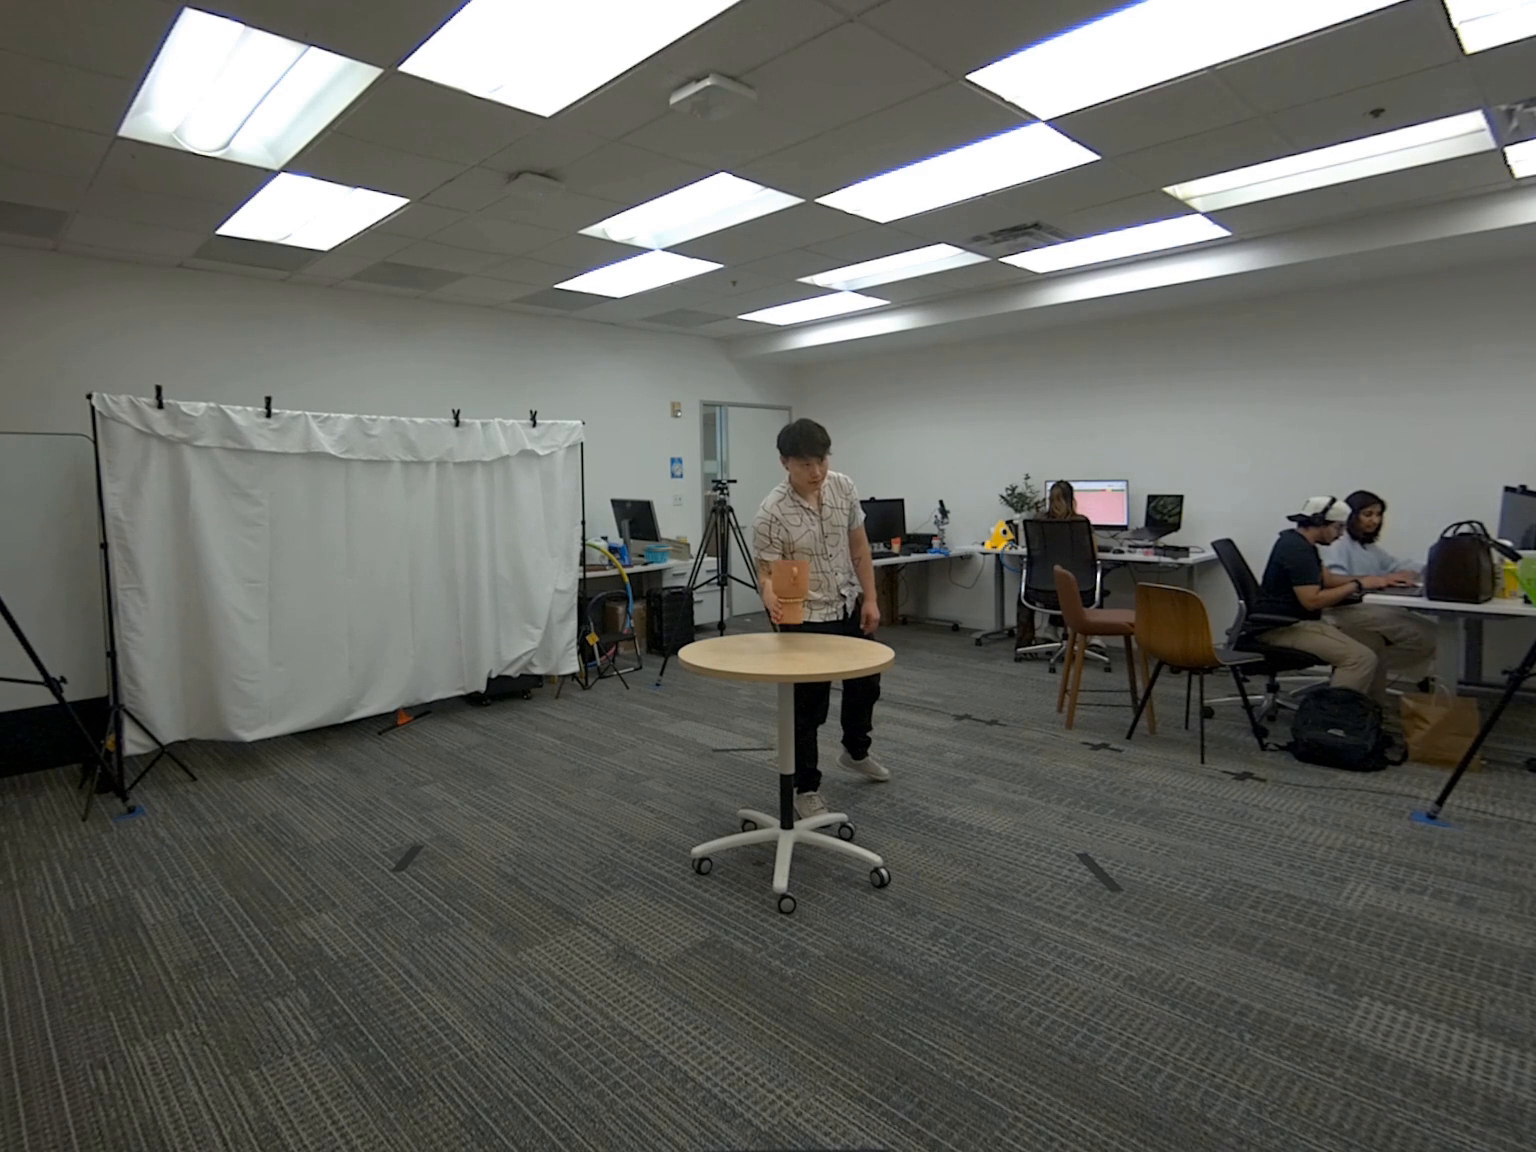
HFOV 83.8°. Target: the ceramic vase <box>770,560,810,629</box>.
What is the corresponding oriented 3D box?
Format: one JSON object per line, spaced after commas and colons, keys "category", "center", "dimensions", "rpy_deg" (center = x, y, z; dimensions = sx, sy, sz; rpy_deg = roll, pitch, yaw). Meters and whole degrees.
{"category": "ceramic vase", "center": [0.082, 0.051, 3.043], "dimensions": [0.138, 0.219, 0.155], "rpy_deg": [2, 2, 32]}
